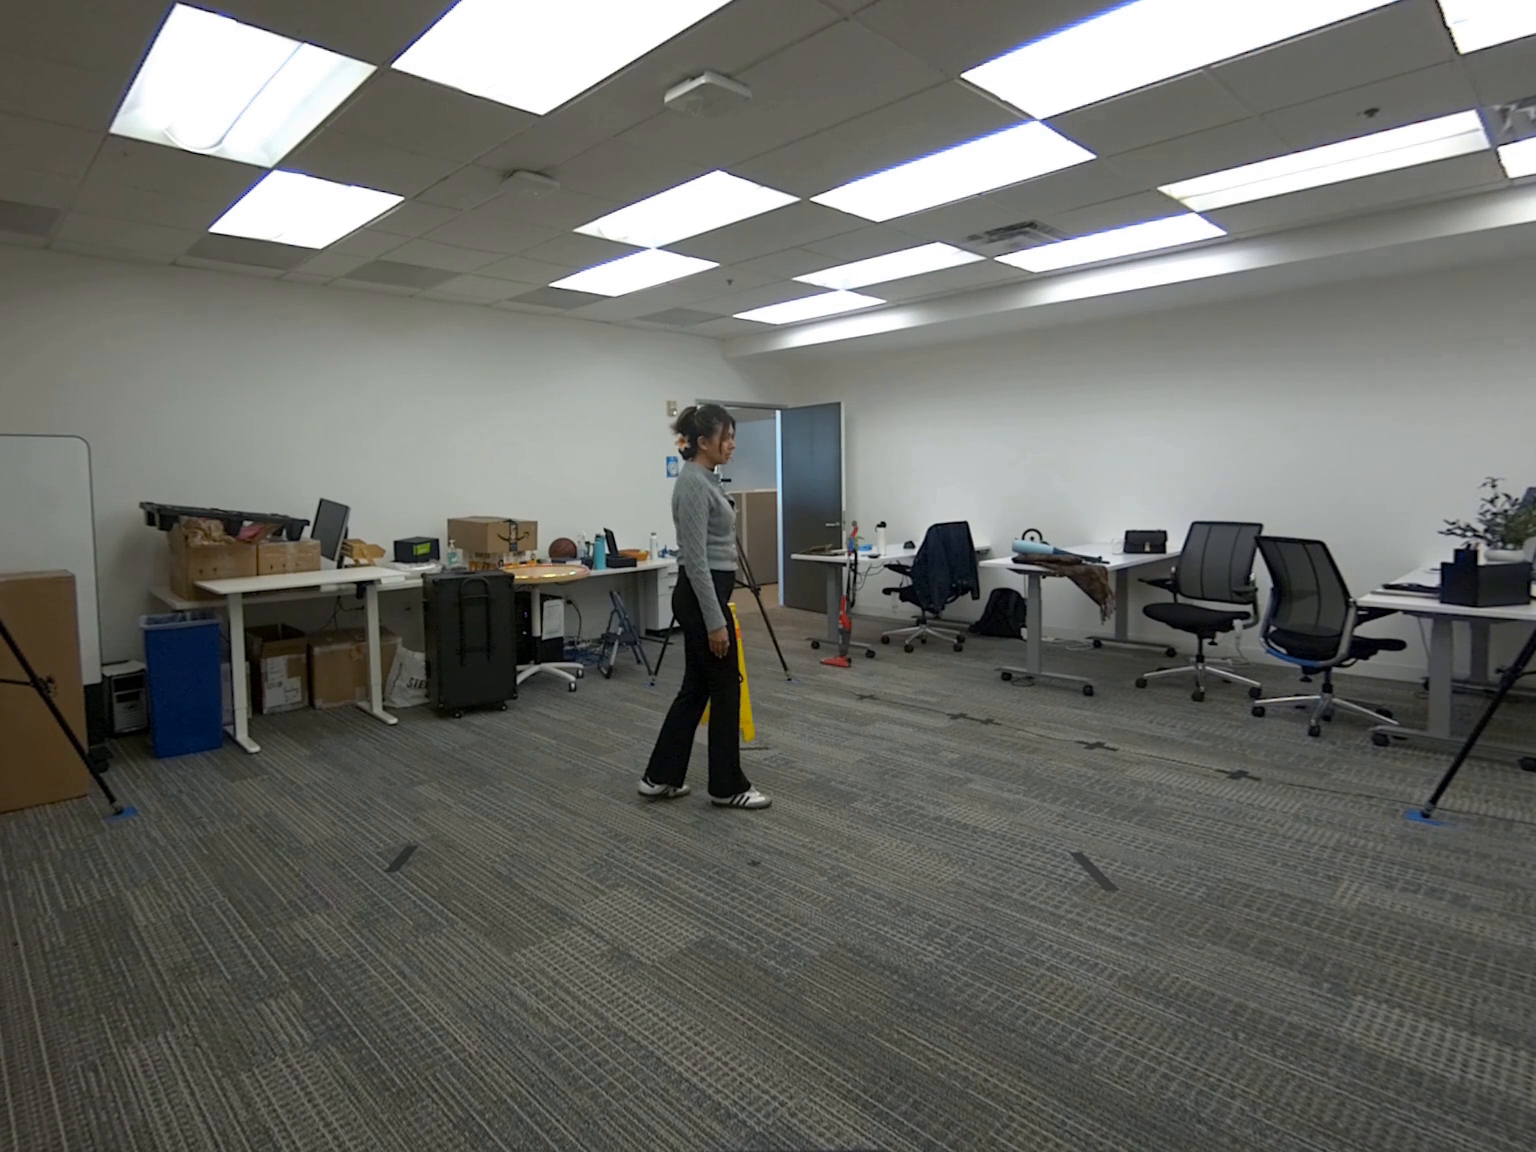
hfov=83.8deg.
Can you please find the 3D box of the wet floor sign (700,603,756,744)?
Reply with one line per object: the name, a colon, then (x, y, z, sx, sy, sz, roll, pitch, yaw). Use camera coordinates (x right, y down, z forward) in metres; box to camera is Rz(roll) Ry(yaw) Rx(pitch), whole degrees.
wet floor sign: (-0.232, 0.456, 4.035, 0.299, 0.640, 0.275, 12, 13, 38)
